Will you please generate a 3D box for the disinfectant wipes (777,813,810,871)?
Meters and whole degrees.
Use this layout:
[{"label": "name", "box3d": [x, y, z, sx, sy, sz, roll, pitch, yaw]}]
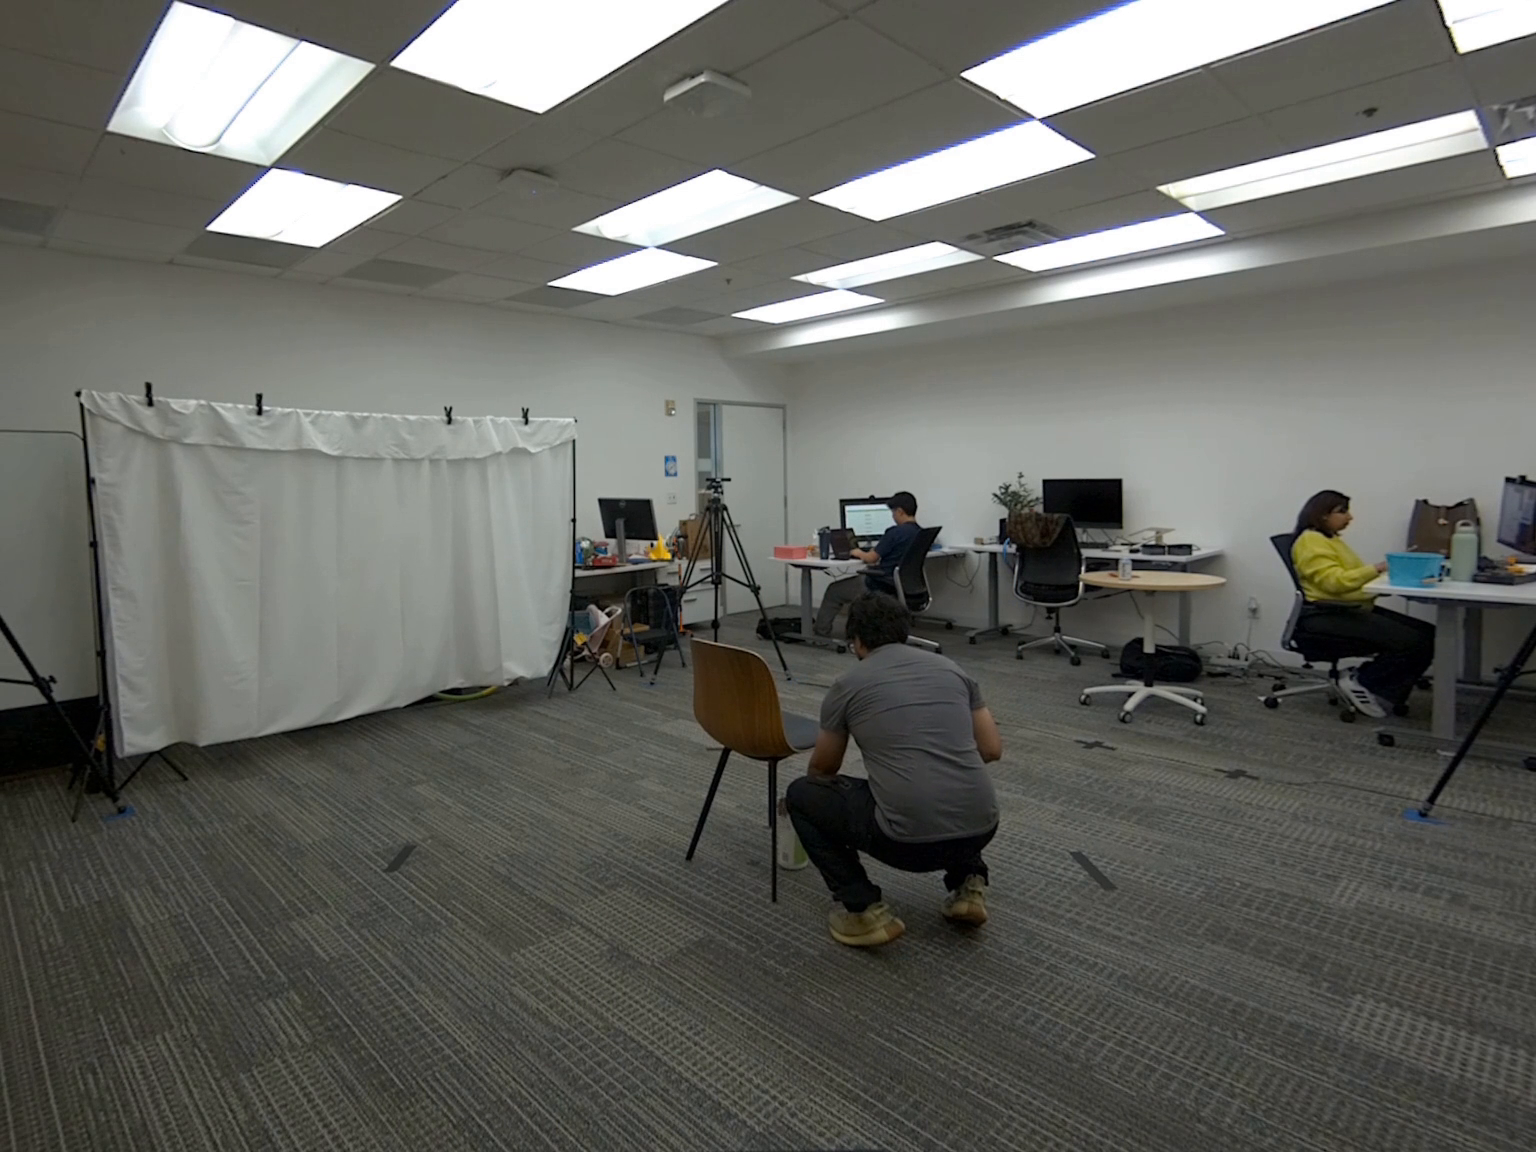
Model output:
[{"label": "disinfectant wipes", "box3d": [0.098, 0.942, 3.069, 0.117, 0.216, 0.118, 4, 6, -2]}]
